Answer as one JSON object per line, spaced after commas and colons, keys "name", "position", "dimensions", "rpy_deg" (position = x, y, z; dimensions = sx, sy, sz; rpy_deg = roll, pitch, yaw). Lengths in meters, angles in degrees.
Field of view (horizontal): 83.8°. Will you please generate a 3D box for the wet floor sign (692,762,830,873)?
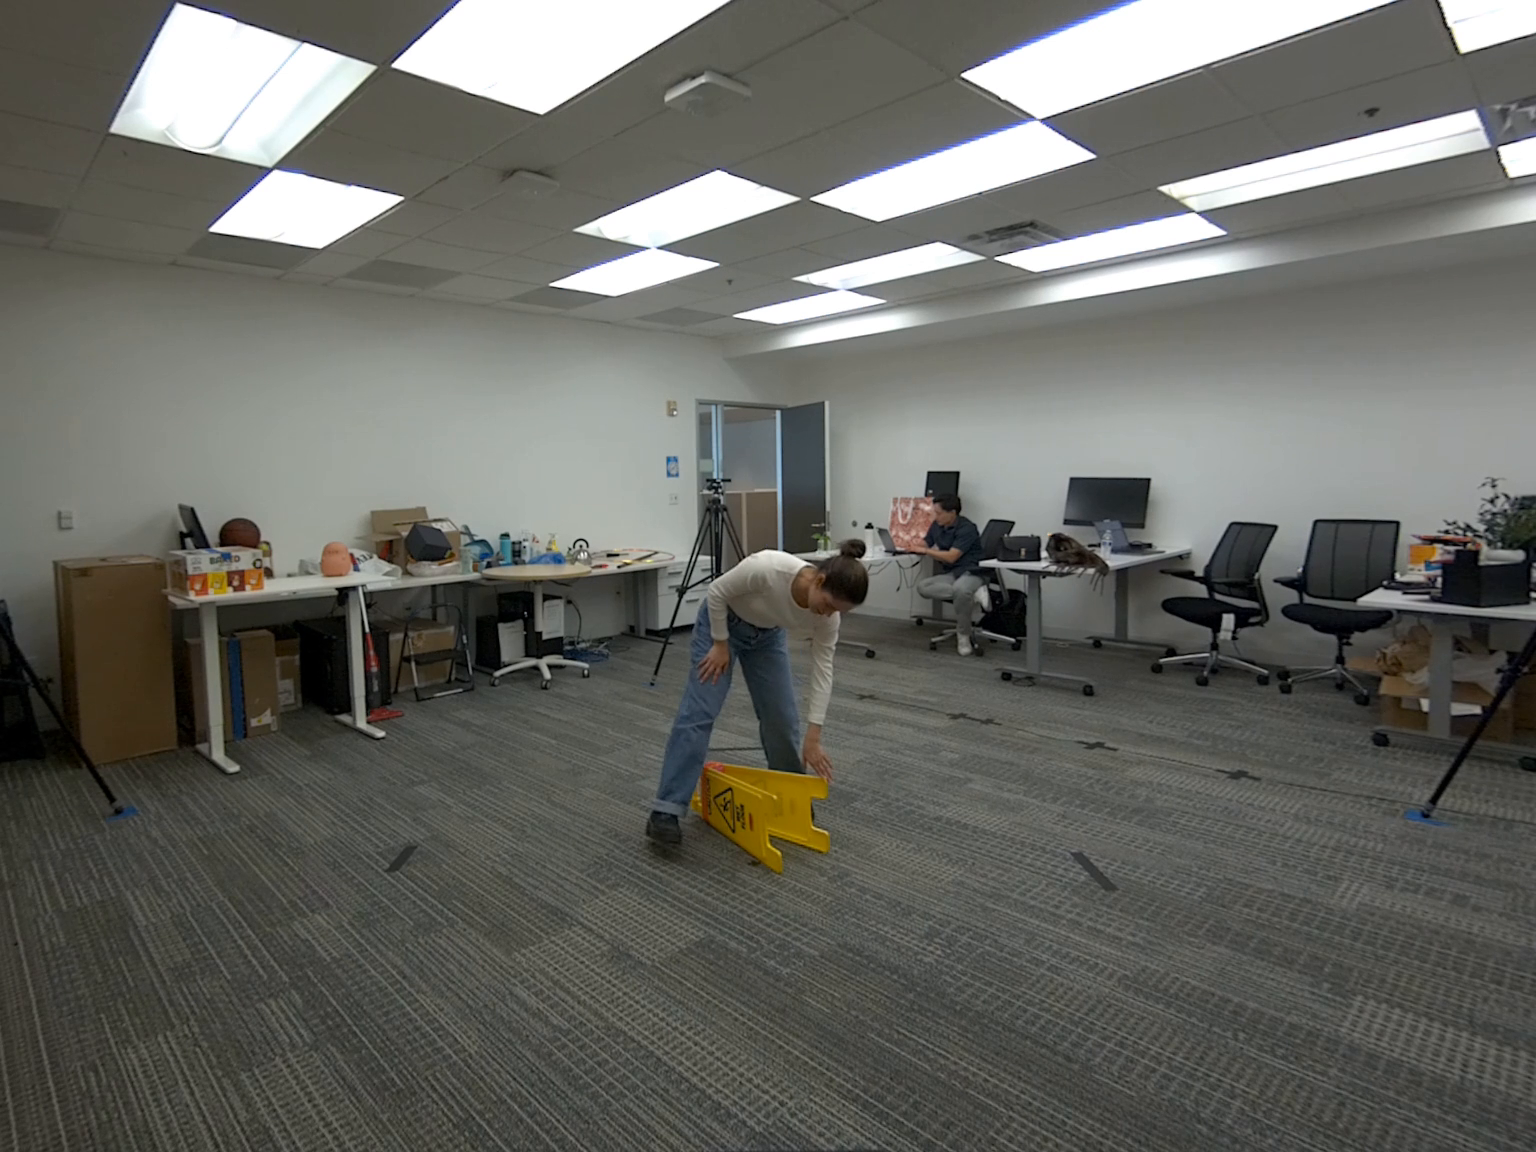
{"name": "wet floor sign", "position": [-0.096, 0.890, 3.334], "dimensions": [0.282, 0.281, 0.665], "rpy_deg": [-5, 6, -43]}
